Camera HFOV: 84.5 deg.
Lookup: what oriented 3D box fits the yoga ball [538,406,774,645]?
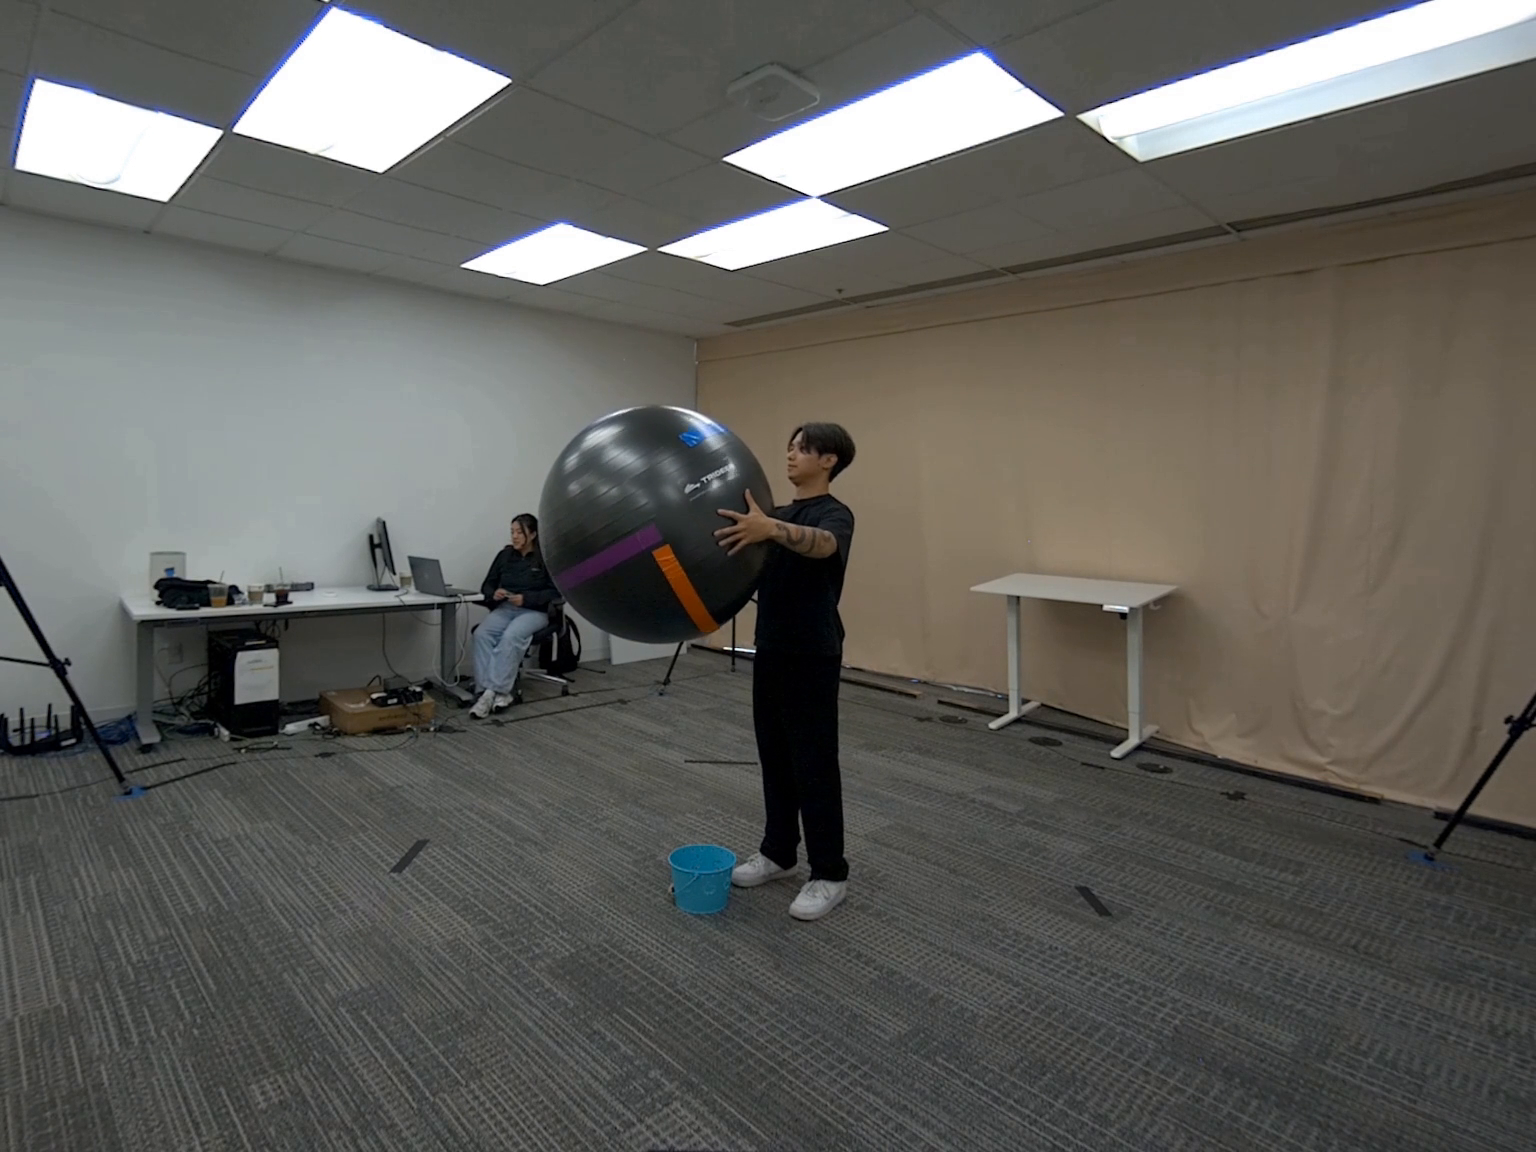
[{"bbox_3d":[-0.354,-0.156,2.692,0.757,0.756,0.761,1,4,-1],"label":"yoga ball"}]
